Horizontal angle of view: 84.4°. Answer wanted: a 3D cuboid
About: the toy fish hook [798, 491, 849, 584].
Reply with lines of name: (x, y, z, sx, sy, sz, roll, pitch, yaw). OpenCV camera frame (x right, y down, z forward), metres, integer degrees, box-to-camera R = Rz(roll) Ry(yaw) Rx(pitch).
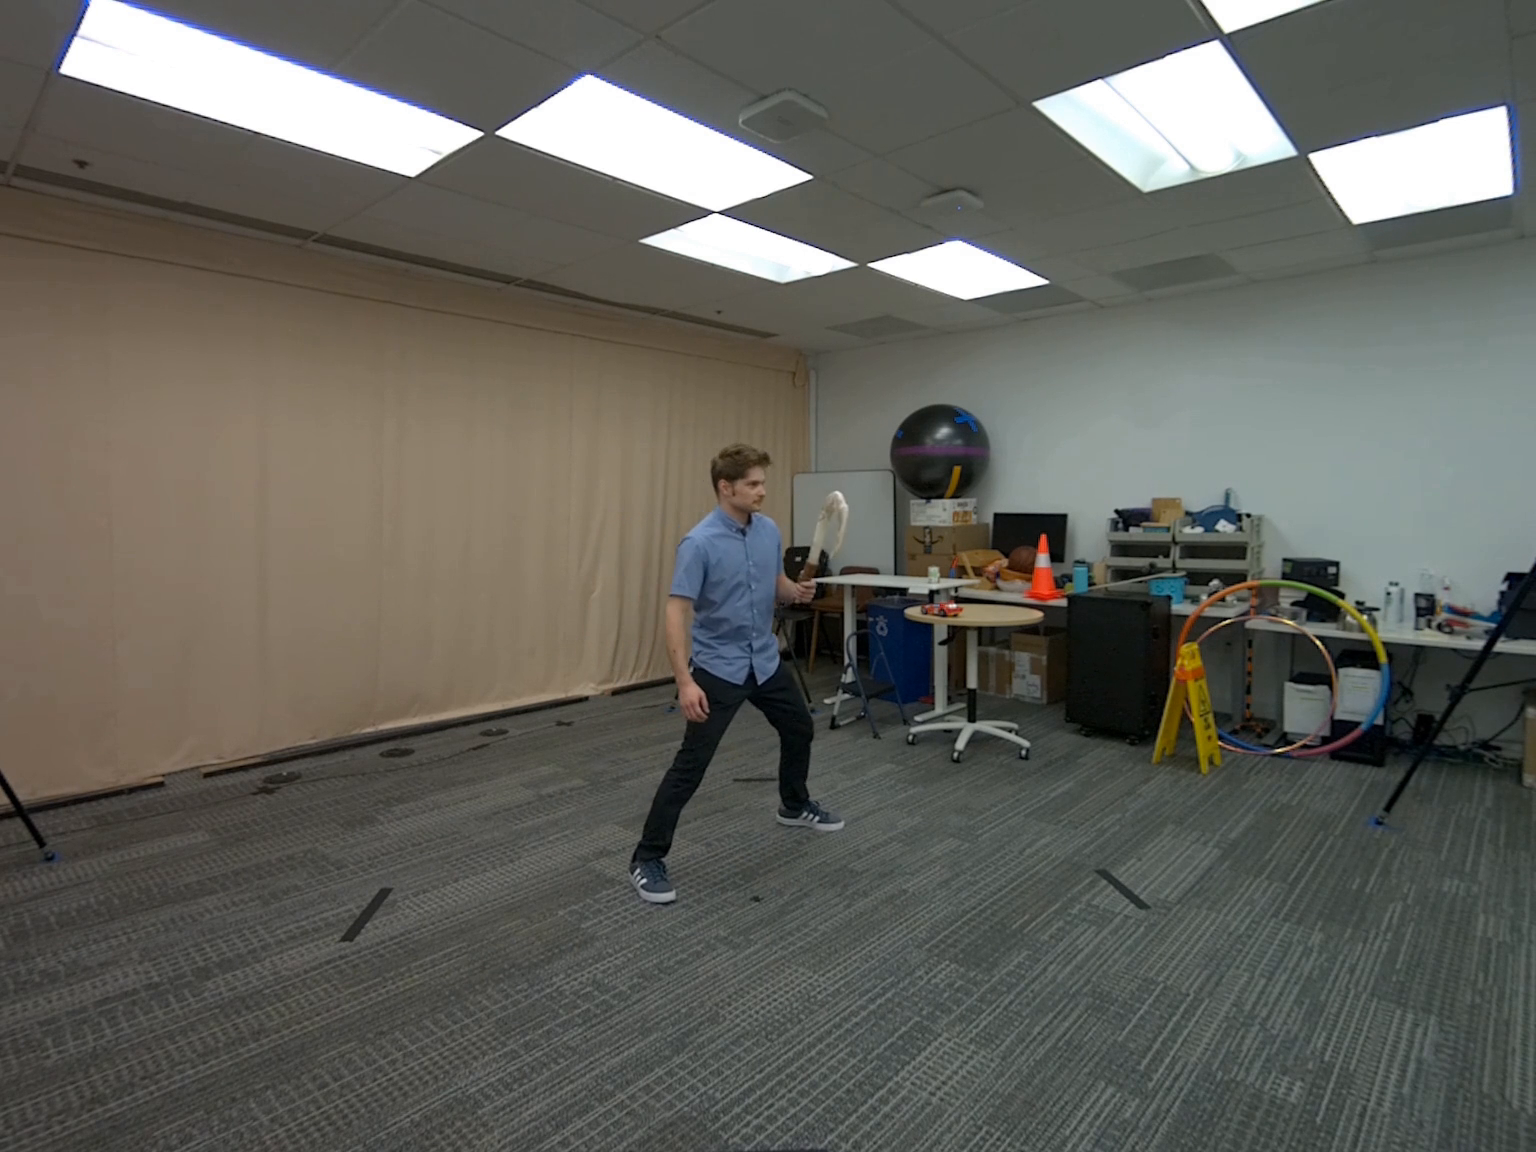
toy fish hook: (0.192, -0.064, 3.036, 0.047, 0.503, 0.230, 9, 35, -15)
